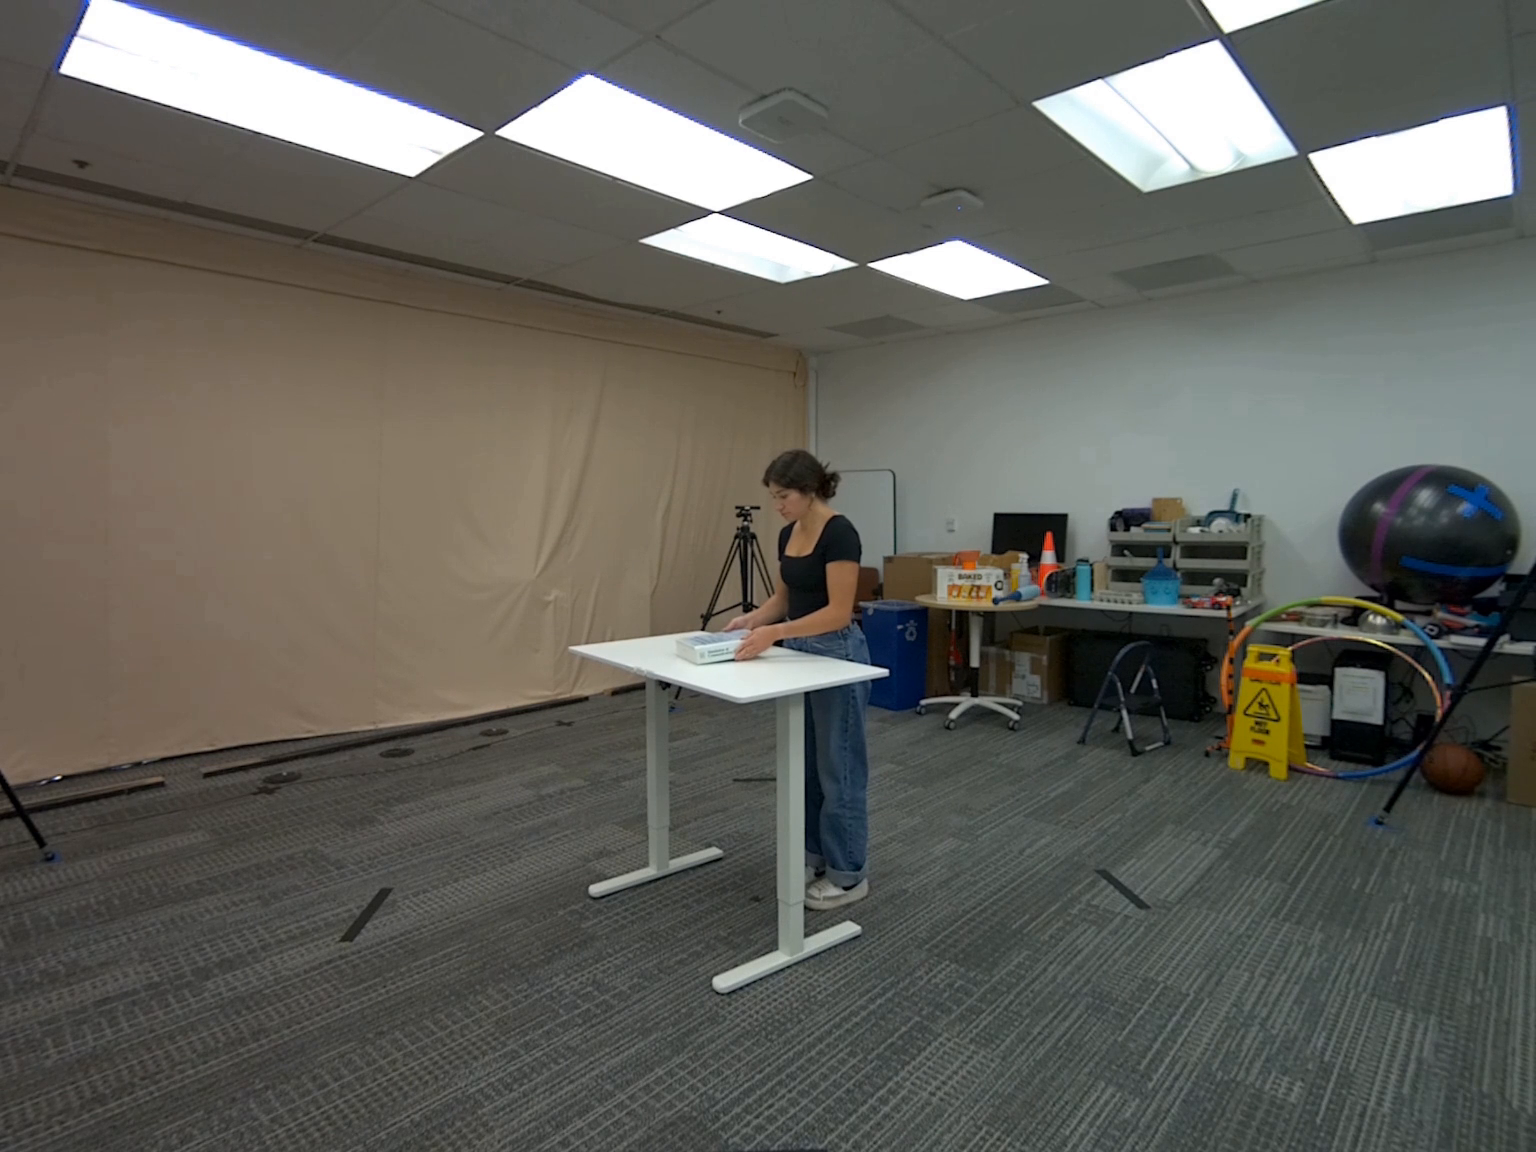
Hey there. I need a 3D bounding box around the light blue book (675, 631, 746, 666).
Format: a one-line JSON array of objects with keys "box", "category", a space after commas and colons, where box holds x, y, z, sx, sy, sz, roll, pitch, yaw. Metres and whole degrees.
[{"box": [-0.164, 0.239, 2.851, 0.255, 0.059, 0.197, -6, 9, -27], "category": "light blue book"}]
